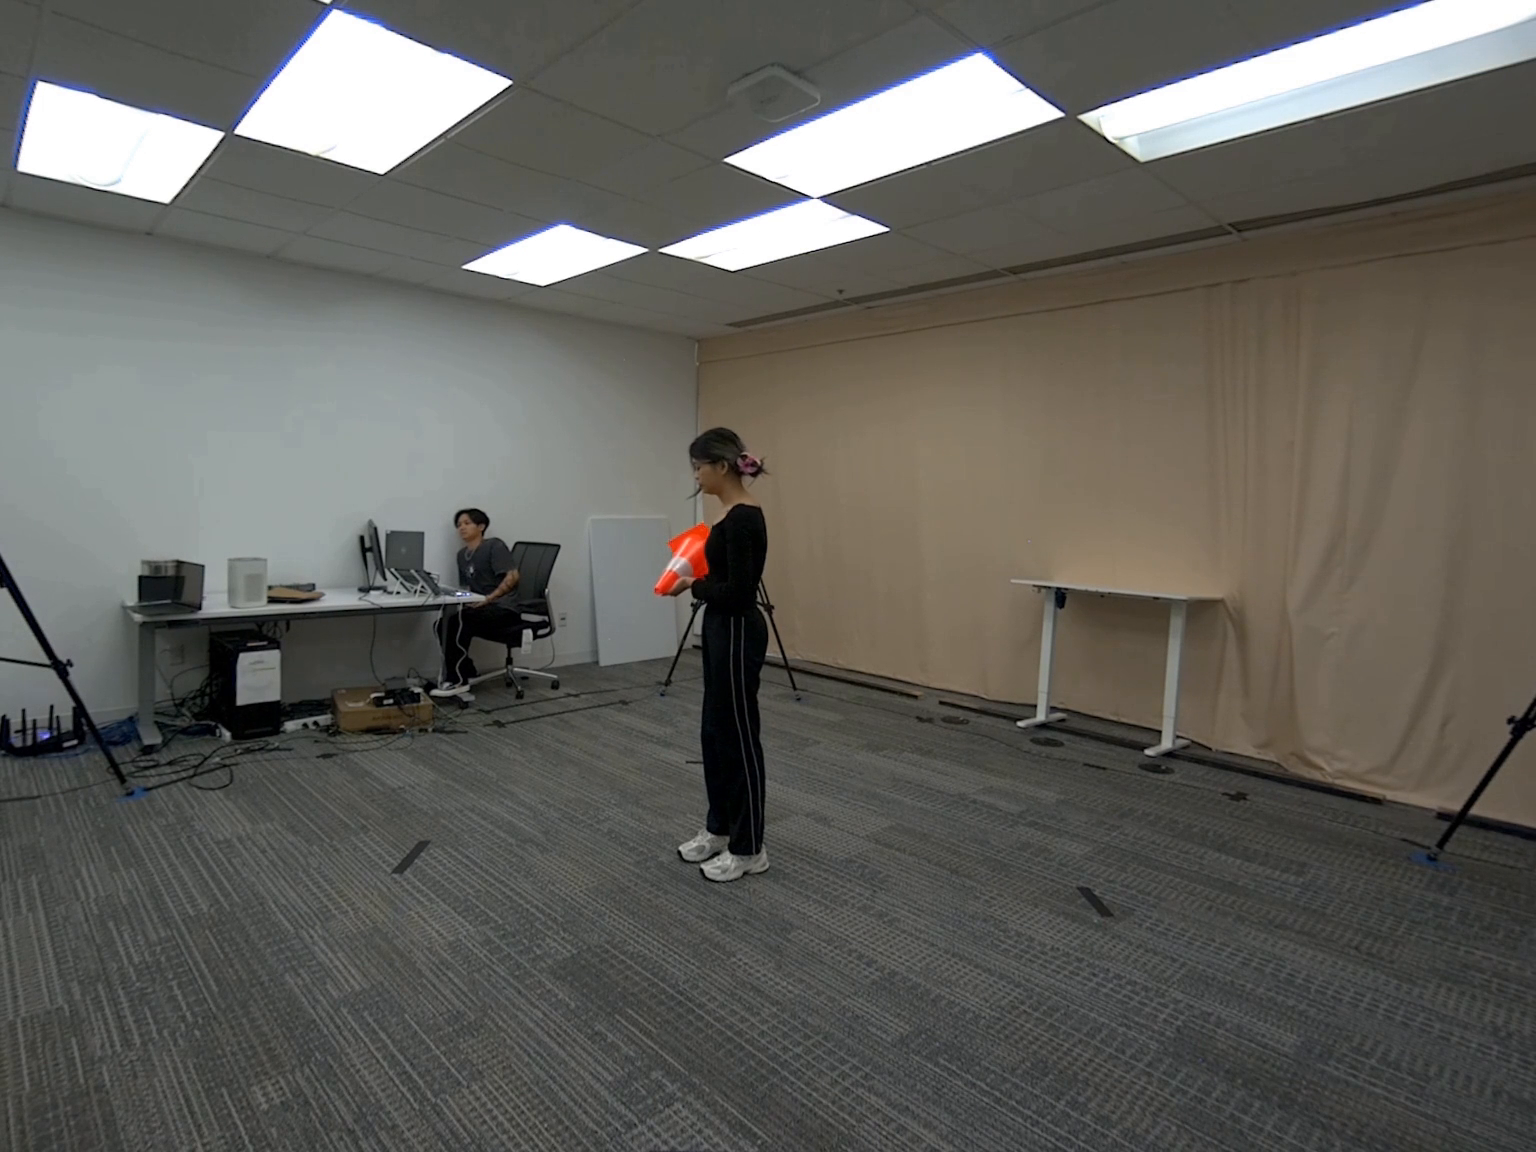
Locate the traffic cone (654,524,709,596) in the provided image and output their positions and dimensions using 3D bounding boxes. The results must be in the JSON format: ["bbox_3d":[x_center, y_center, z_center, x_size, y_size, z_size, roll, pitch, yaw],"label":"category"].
[{"bbox_3d":[-0.343,-0.017,3.183,0.206,0.202,0.384,-30,10,28],"label":"traffic cone"}]
